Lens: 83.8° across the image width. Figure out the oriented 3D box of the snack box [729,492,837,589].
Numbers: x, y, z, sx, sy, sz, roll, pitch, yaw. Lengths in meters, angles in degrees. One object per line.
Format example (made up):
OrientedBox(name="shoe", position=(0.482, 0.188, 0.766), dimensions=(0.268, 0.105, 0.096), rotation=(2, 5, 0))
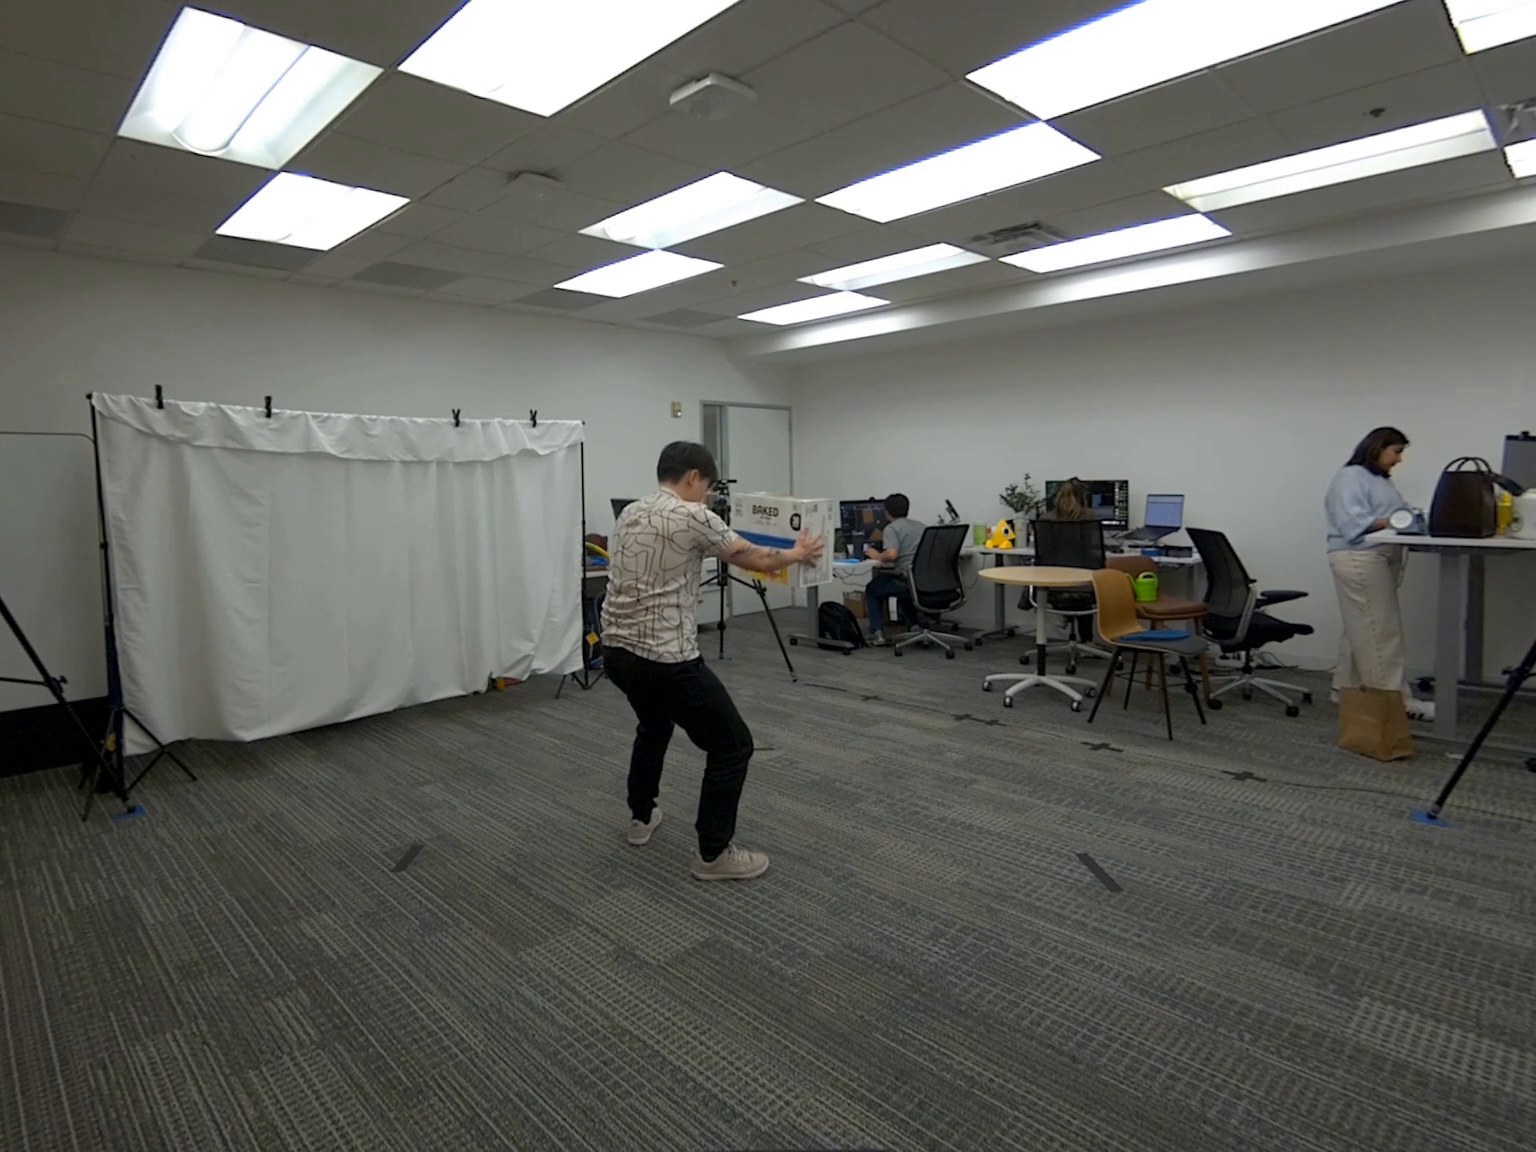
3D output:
OrientedBox(name="snack box", position=(0.057, -0.154, 3.509), dimensions=(0.200, 0.338, 0.419), rotation=(-7, 12, -44))
